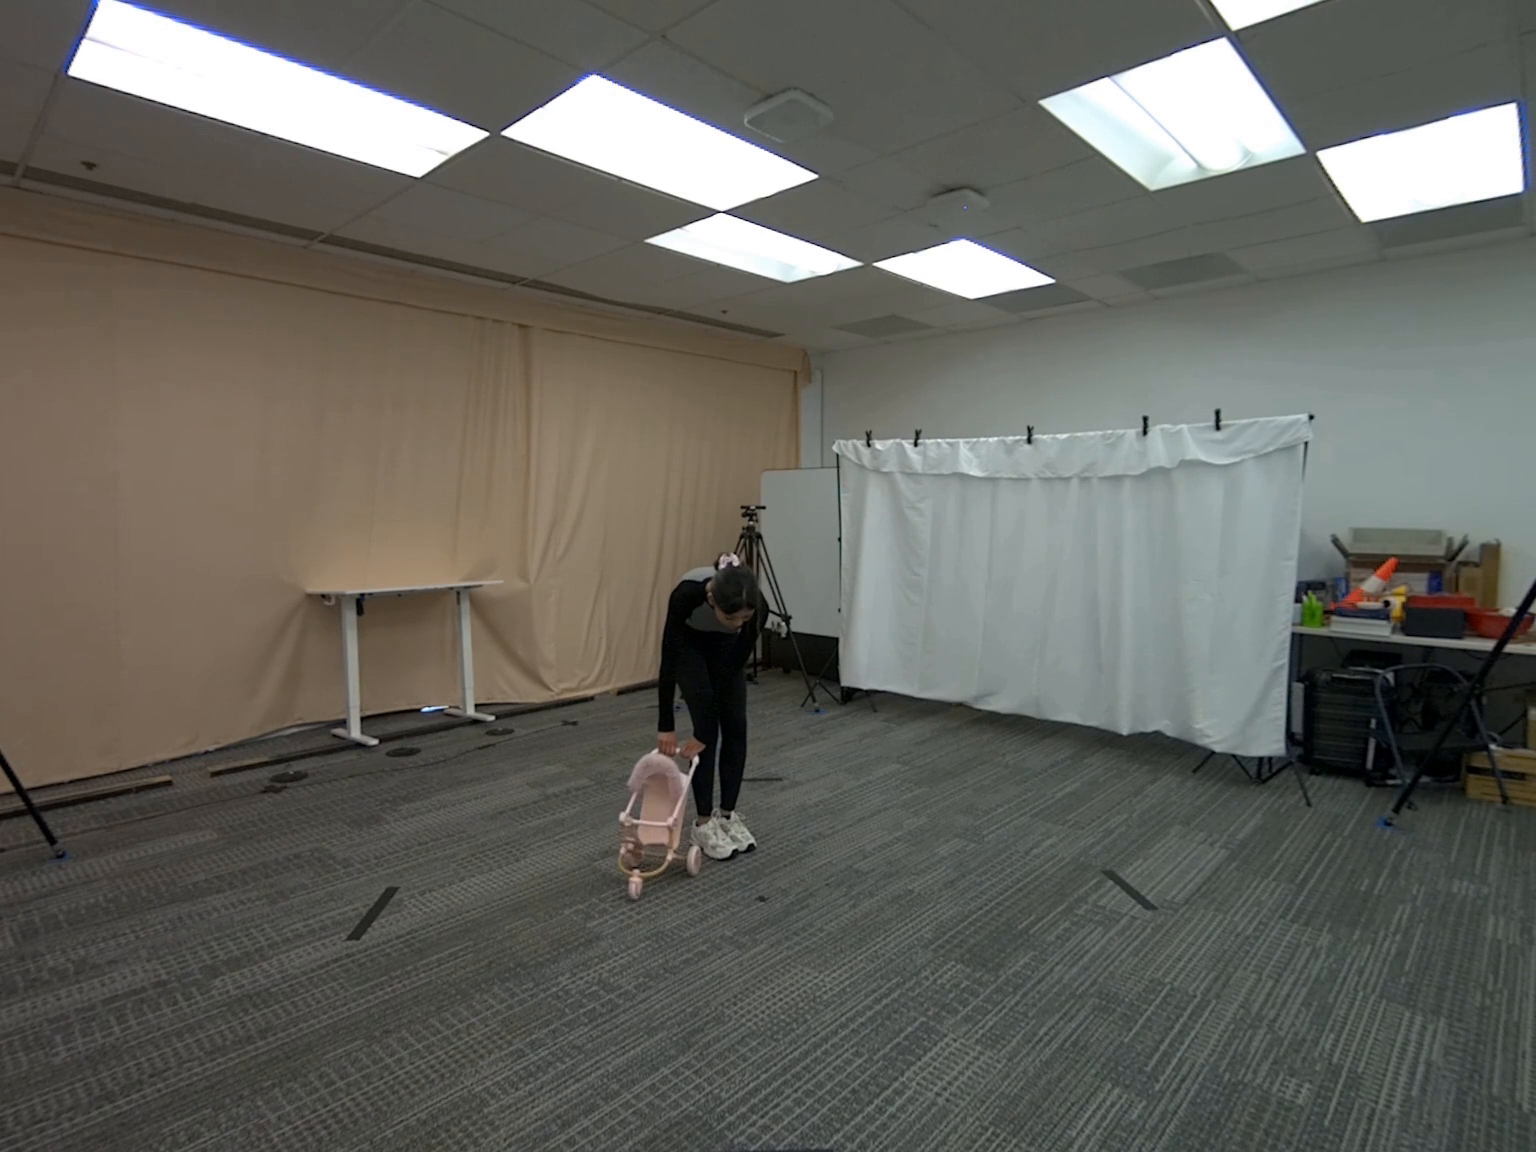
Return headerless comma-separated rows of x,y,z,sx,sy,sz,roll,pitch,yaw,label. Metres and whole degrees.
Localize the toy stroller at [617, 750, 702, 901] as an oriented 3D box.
-0.415,0.906,3.157,0.288,0.539,0.331,-1,-14,21,toy stroller
